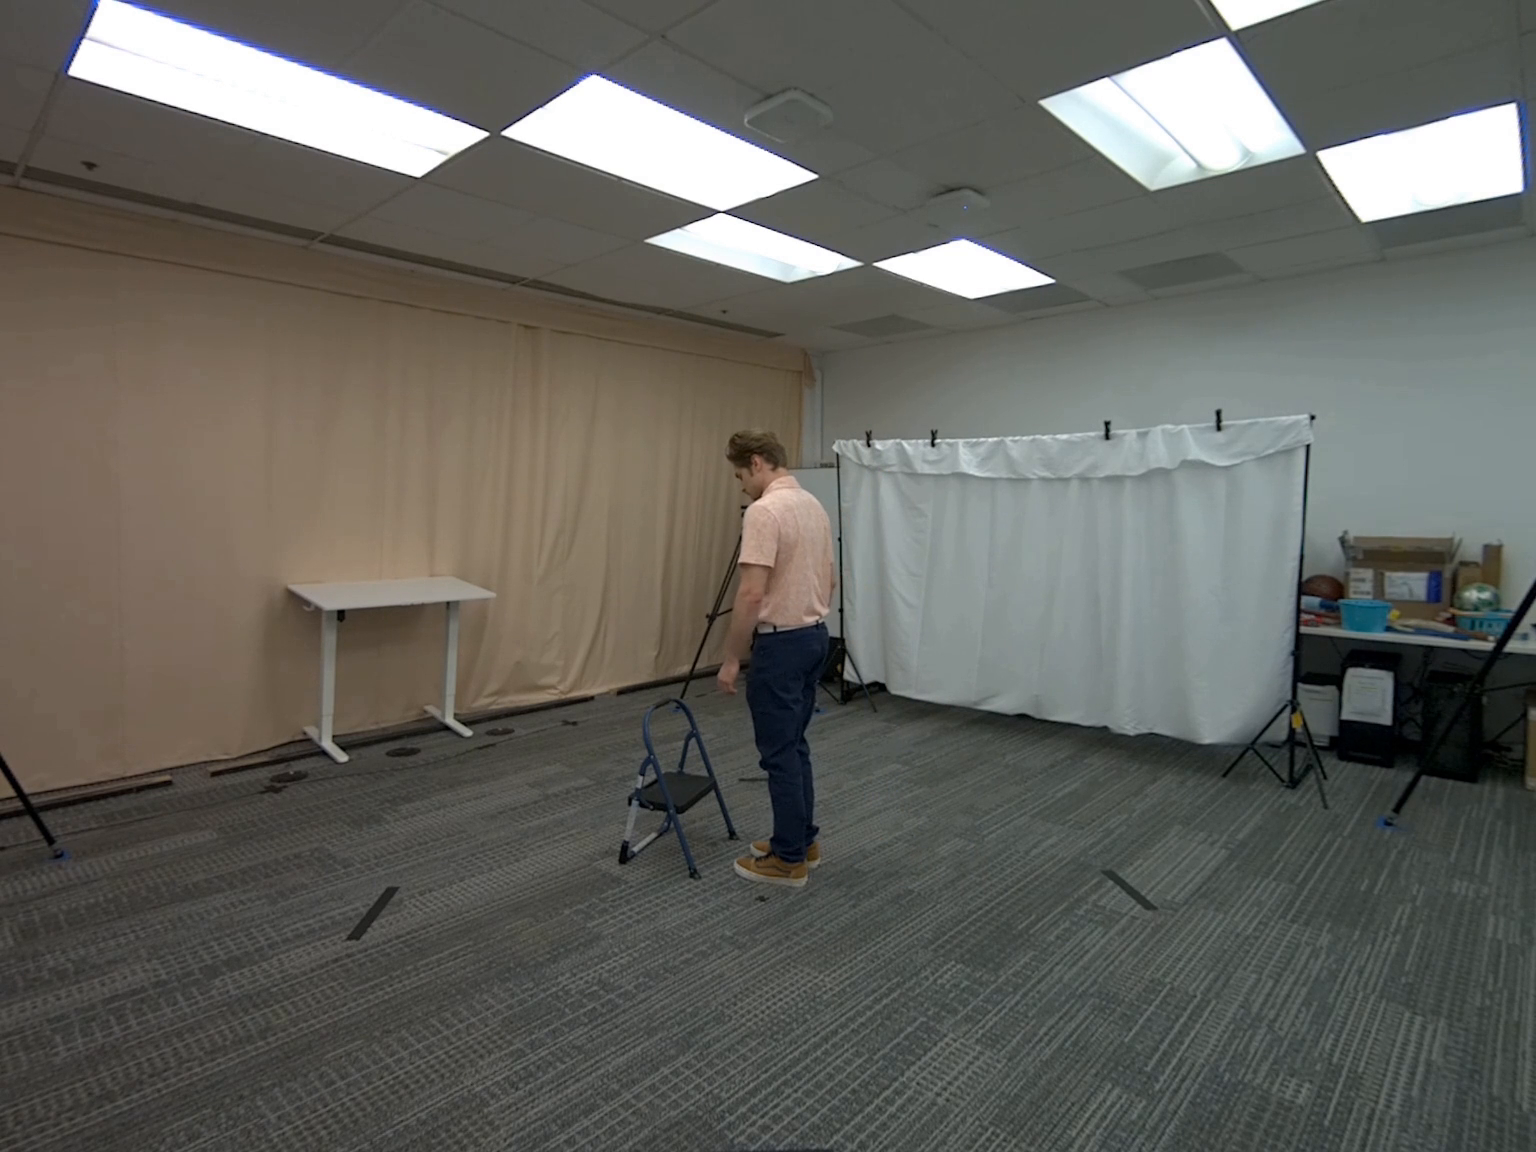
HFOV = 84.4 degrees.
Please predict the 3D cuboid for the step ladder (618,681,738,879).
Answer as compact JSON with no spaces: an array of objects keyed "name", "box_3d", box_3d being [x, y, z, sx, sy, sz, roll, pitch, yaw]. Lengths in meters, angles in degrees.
[{"name":"step ladder","box_3d":[-0.359,0.809,3.393,0.357,0.605,0.422,0,3,21]}]
